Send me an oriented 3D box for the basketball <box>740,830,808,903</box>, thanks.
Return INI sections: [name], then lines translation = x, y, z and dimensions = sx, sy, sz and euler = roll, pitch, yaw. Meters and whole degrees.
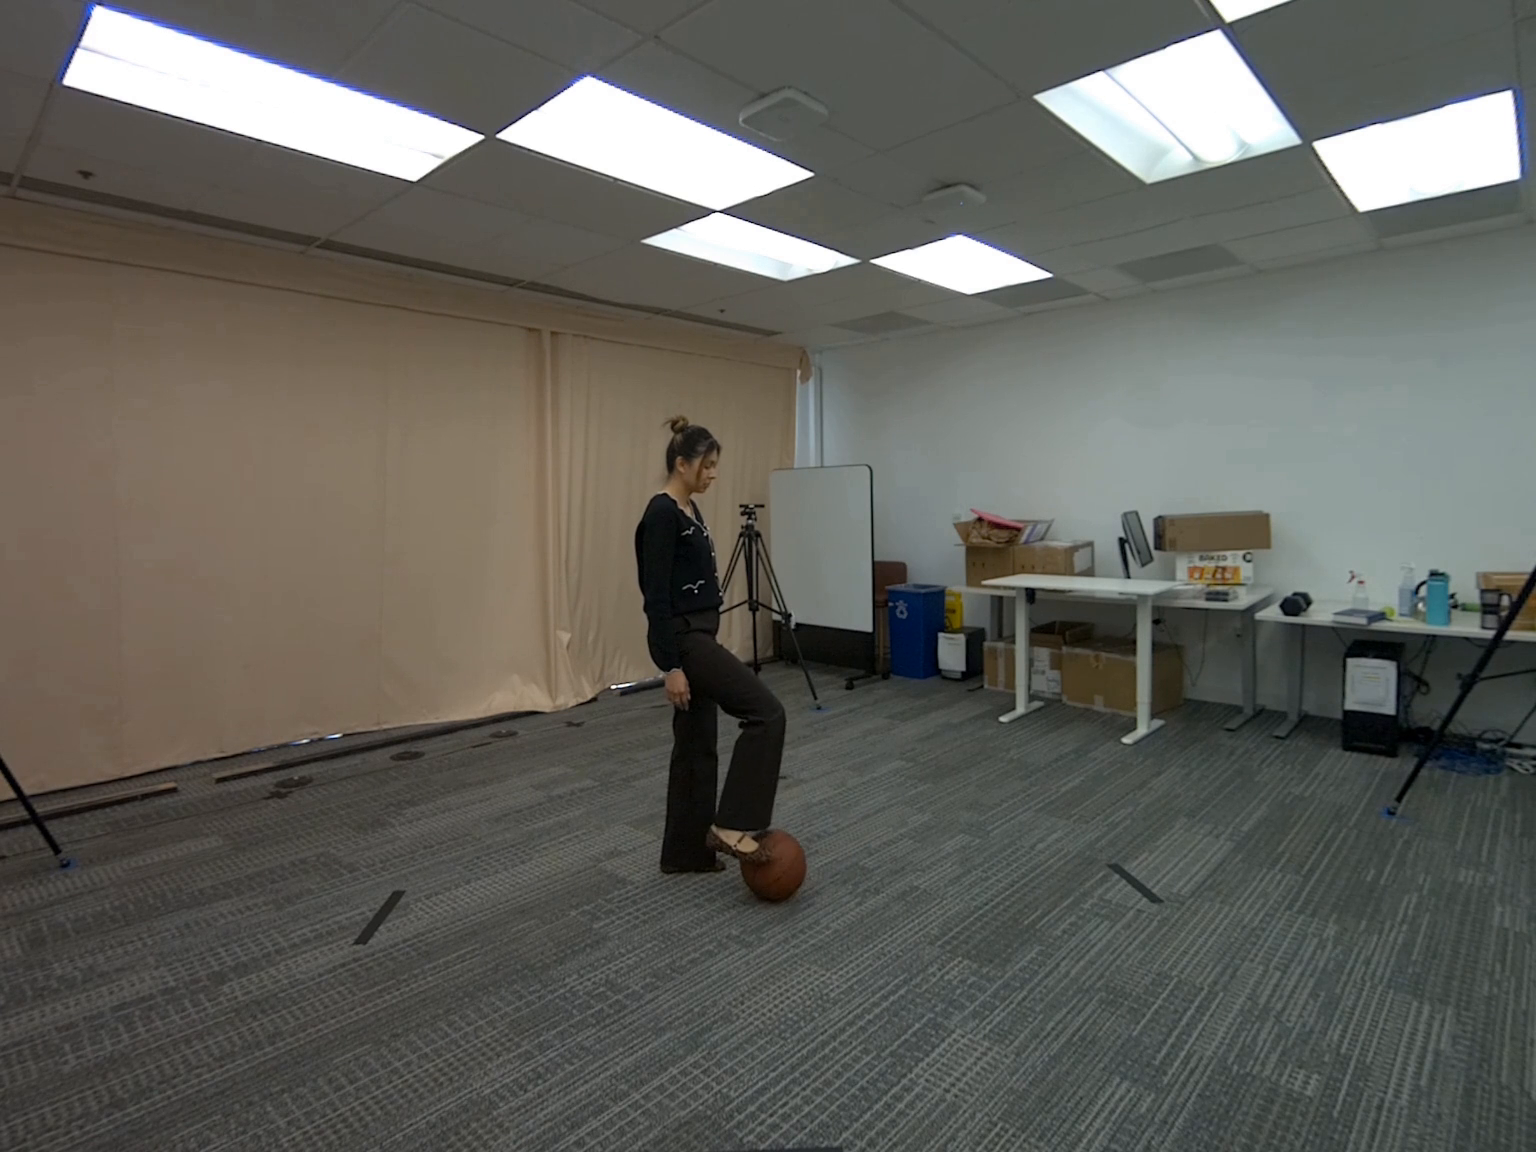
[basketball]
translation = 0.032, 1.019, 2.987
dimensions = 0.236, 0.235, 0.237
euler = -1, 4, -2
